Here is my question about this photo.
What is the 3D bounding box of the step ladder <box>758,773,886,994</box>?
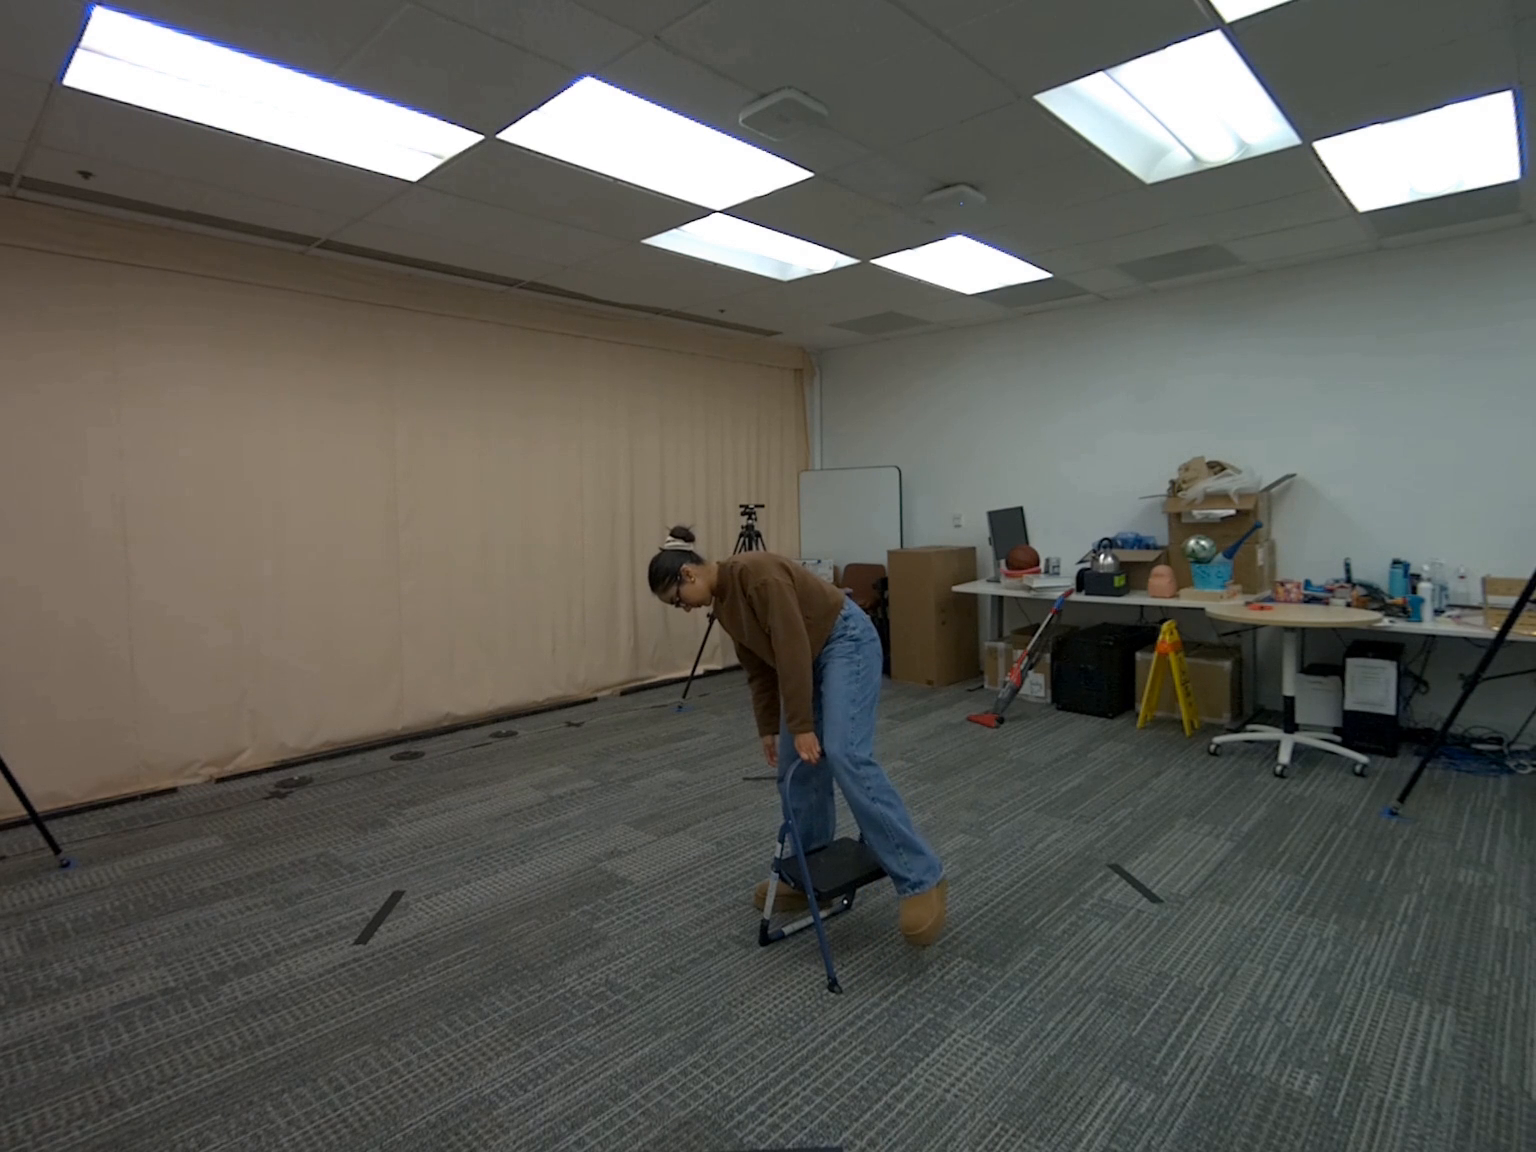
[{"bbox_3d":[0.232,0.862,2.642,0.418,0.605,0.360,-4,3,-40],"label":"step ladder"}]
